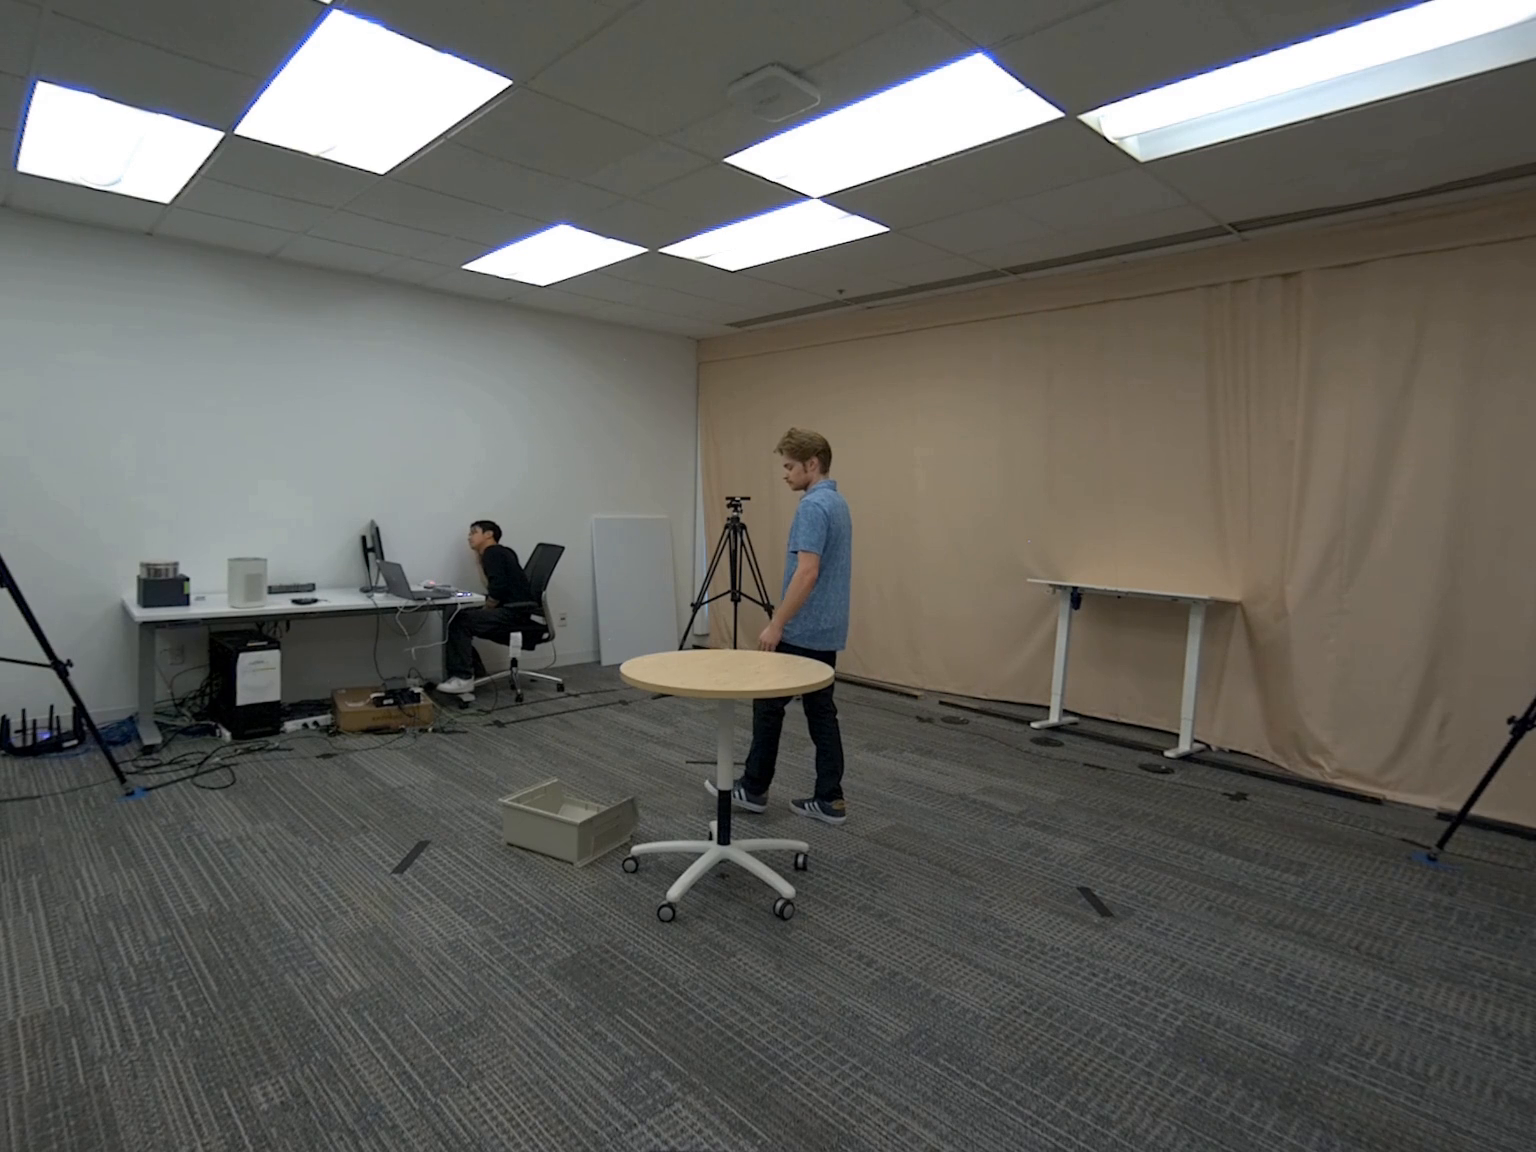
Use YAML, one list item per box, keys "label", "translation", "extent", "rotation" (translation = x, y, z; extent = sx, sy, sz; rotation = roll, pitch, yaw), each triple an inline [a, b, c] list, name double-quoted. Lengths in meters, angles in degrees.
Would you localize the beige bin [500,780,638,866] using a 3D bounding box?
- label: "beige bin"
  translation: [-0.806, 0.977, 3.392]
  extent: [0.432, 0.188, 0.370]
  rotation: [5, 7, 29]
